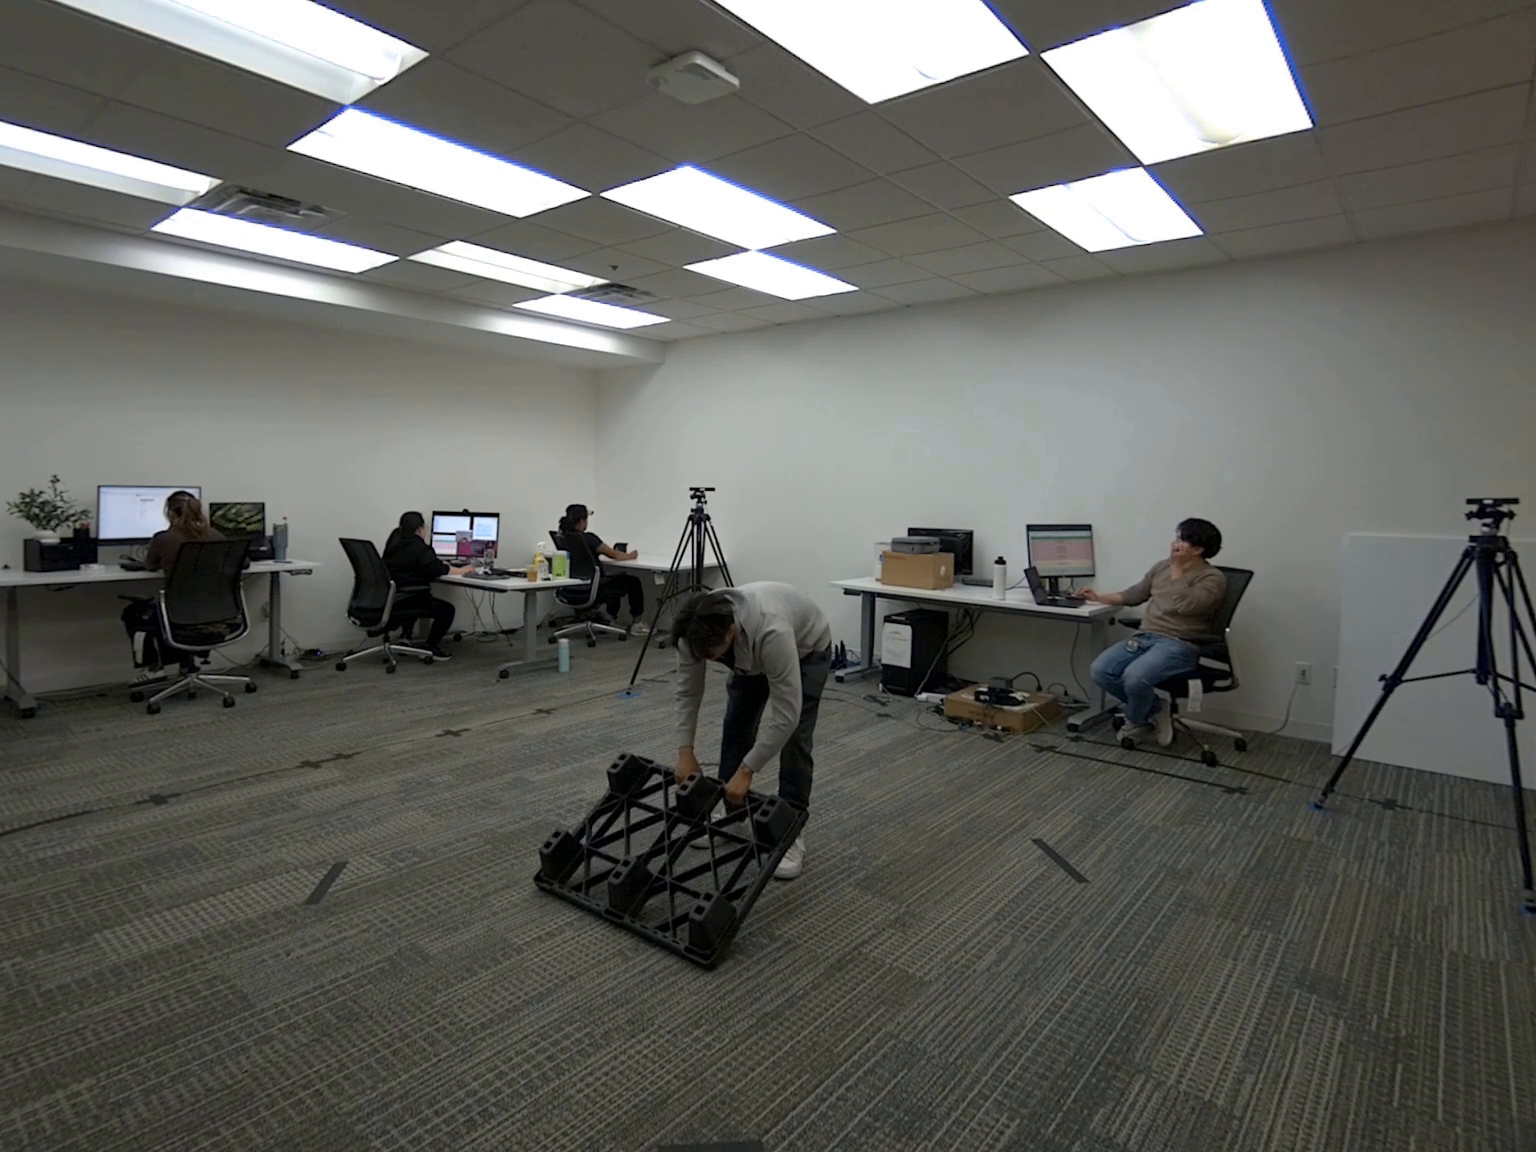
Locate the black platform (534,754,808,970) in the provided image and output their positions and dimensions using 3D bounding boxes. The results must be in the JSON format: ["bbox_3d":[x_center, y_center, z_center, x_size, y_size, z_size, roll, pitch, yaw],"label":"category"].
[{"bbox_3d":[-0.358,0.881,2.850,0.832,0.139,0.604,4,38,37],"label":"black platform"}]
